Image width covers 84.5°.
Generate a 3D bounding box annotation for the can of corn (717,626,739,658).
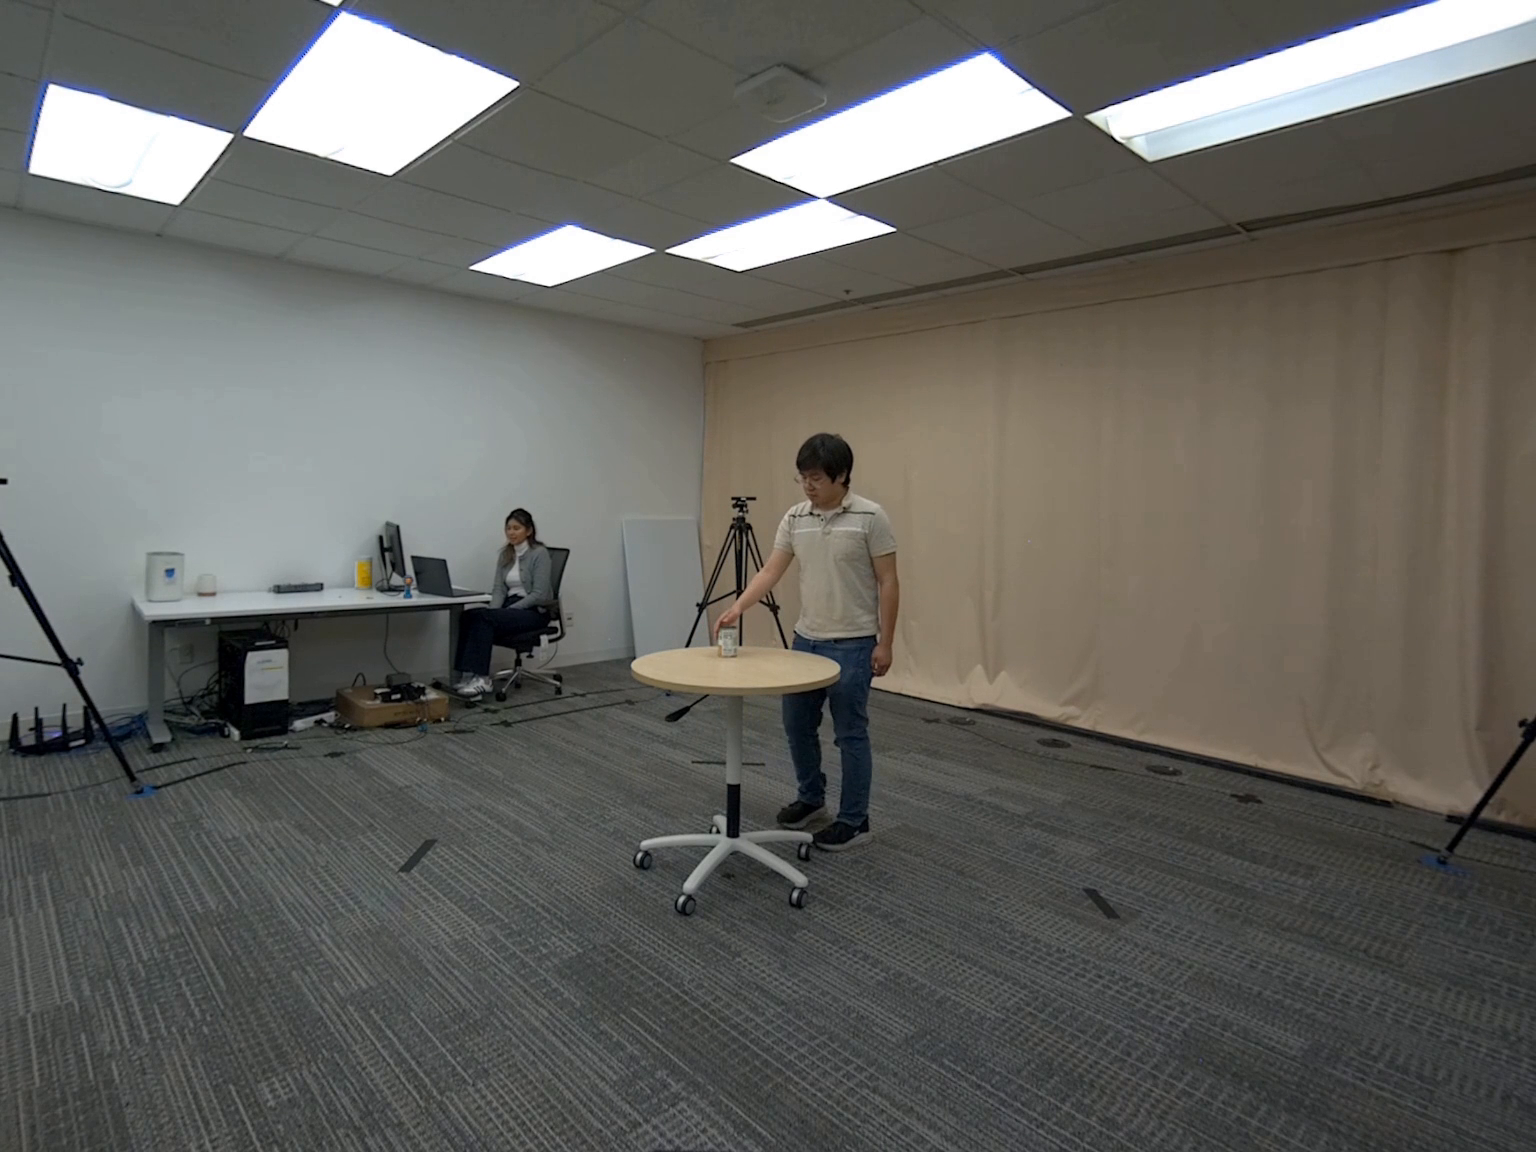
[{"bbox_3d":[-0.170,0.256,3.249,0.074,0.111,0.074,-1,1,-1],"label":"can of corn"}]
